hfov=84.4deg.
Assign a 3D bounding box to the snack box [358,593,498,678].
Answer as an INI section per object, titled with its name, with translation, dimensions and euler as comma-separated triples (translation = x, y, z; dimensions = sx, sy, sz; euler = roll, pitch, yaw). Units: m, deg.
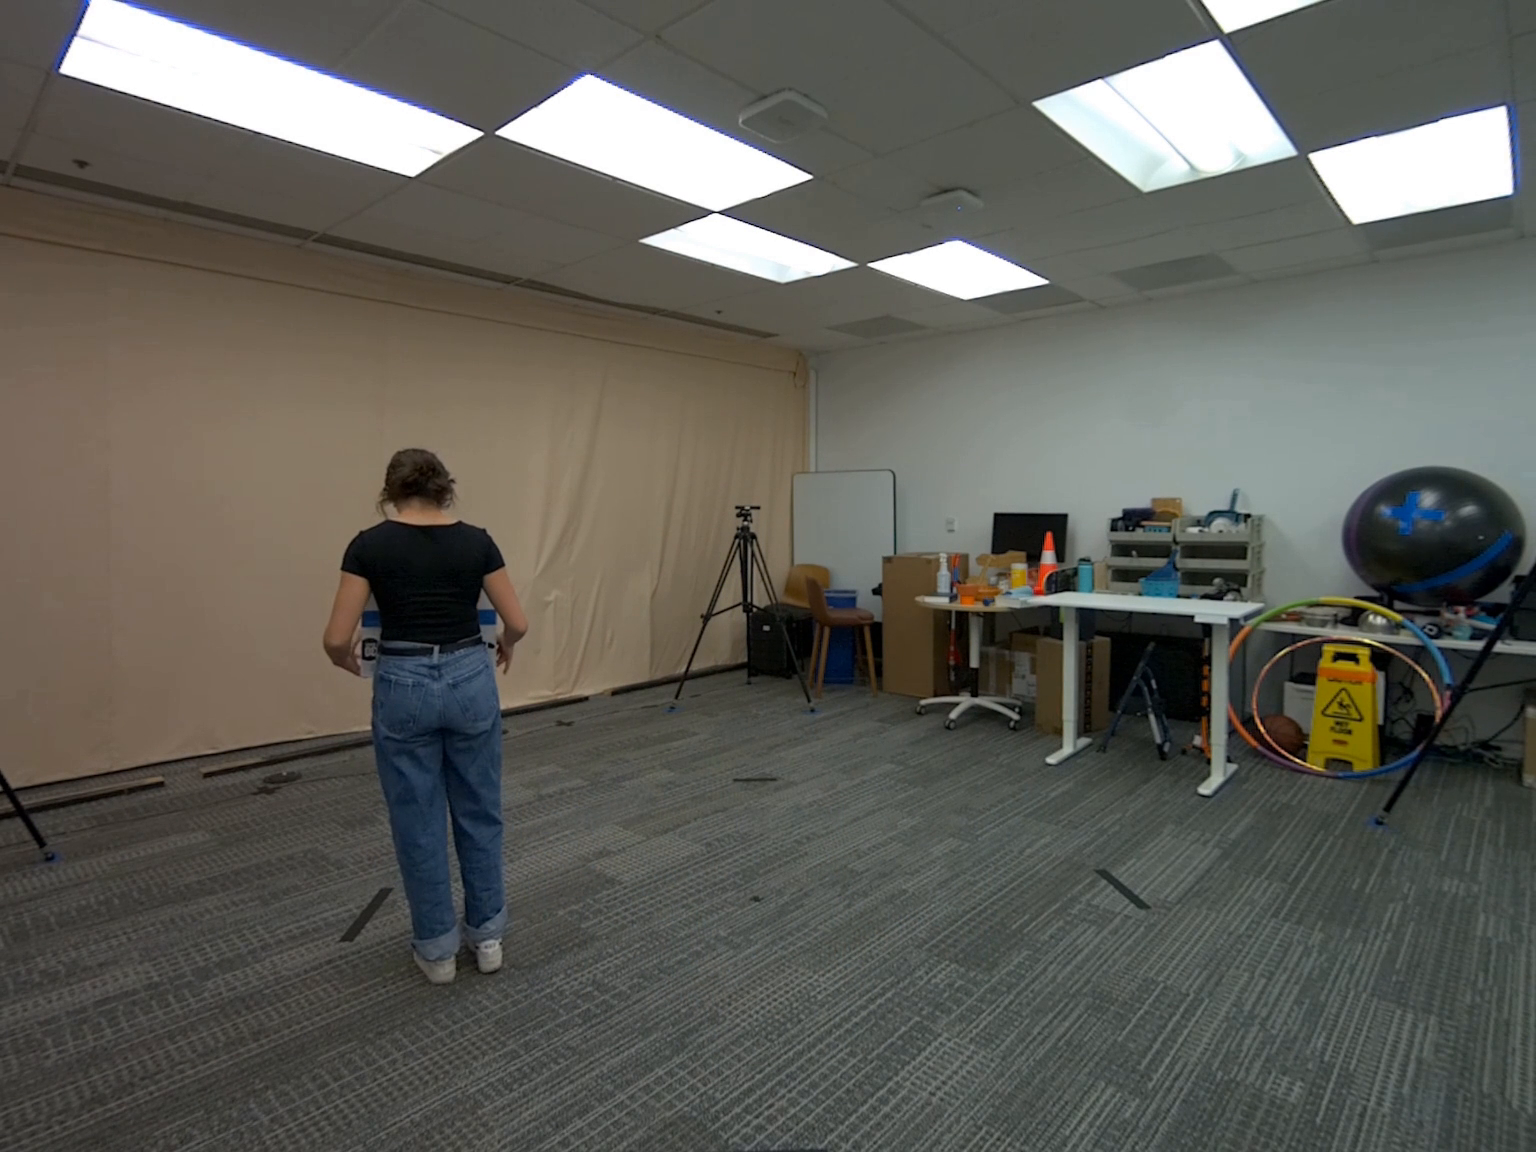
[snack box]
translation = -1.087, 0.128, 2.695
dimensions = 0.397, 0.340, 0.210
euler = 0, 2, -21
